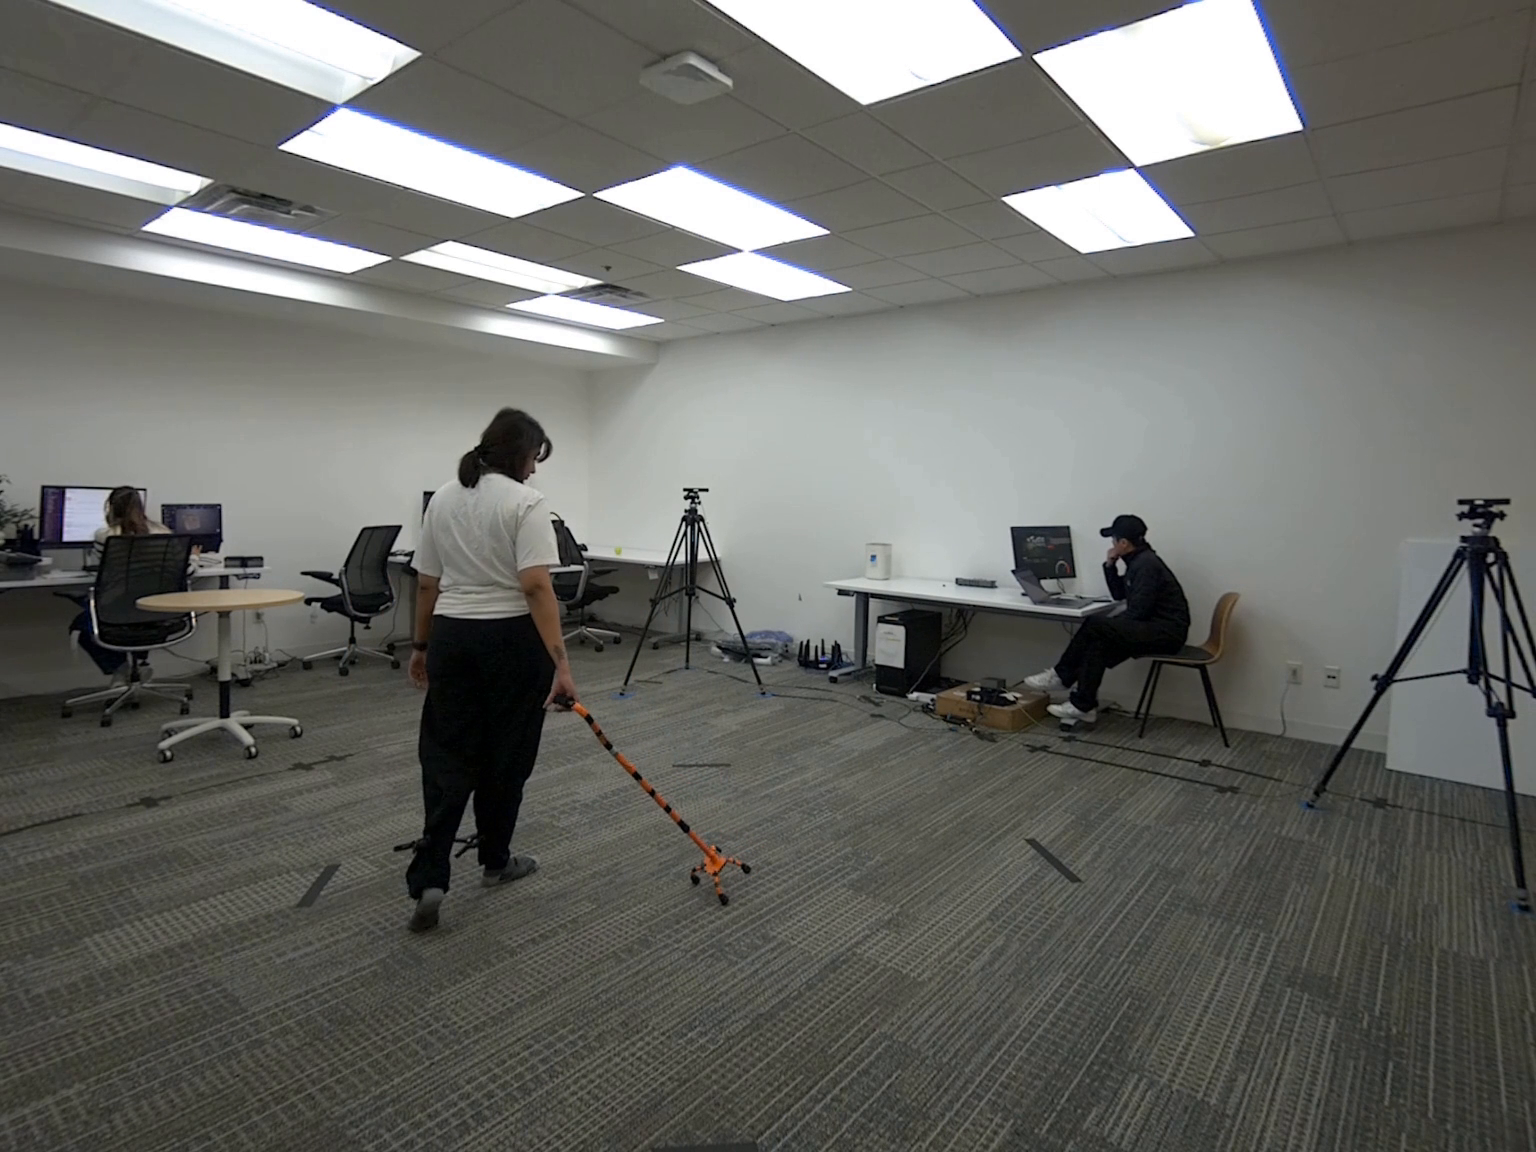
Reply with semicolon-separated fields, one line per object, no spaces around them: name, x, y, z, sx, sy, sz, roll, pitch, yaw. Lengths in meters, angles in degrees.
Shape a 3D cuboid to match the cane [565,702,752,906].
cane;-0.404;0.715;2.769;0.151;0.880;0.213;-48;27;-24
